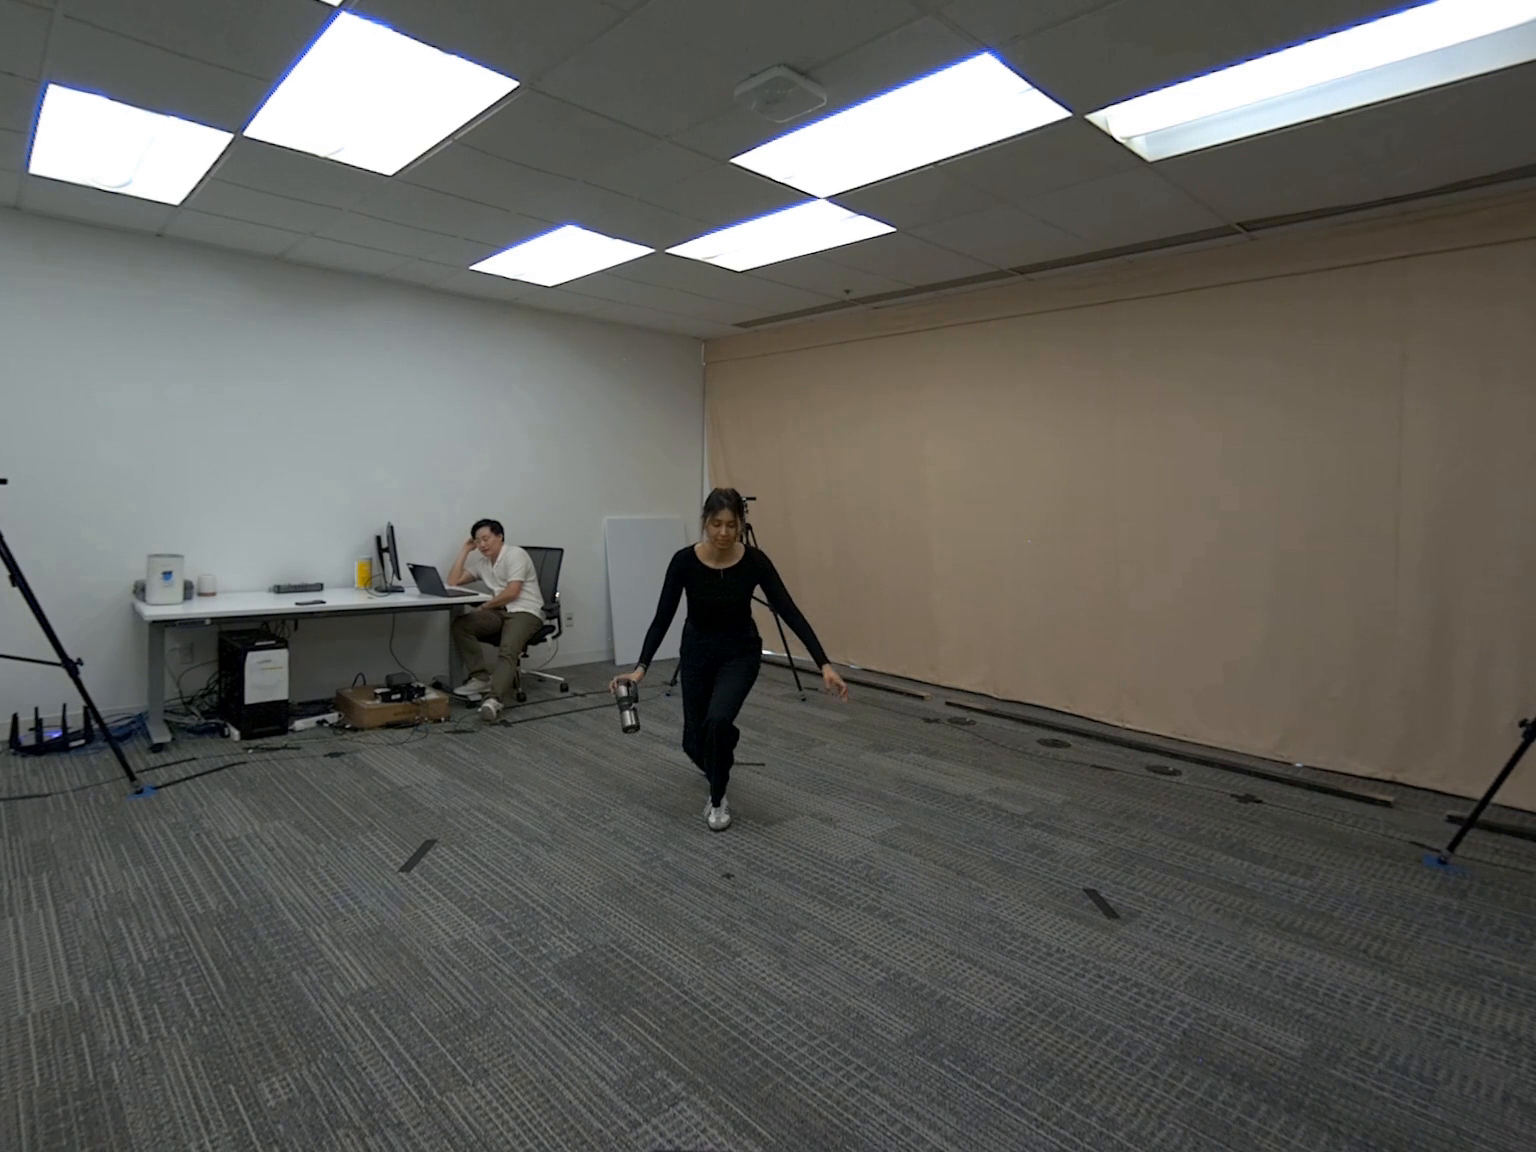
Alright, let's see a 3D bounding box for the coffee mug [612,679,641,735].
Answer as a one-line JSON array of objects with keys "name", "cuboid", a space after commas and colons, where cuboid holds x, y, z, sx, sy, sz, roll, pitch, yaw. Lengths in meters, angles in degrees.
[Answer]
[{"name": "coffee mug", "cuboid": [-0.558, 0.497, 3.362, 0.087, 0.208, 0.120, -3, -33, -11]}]
